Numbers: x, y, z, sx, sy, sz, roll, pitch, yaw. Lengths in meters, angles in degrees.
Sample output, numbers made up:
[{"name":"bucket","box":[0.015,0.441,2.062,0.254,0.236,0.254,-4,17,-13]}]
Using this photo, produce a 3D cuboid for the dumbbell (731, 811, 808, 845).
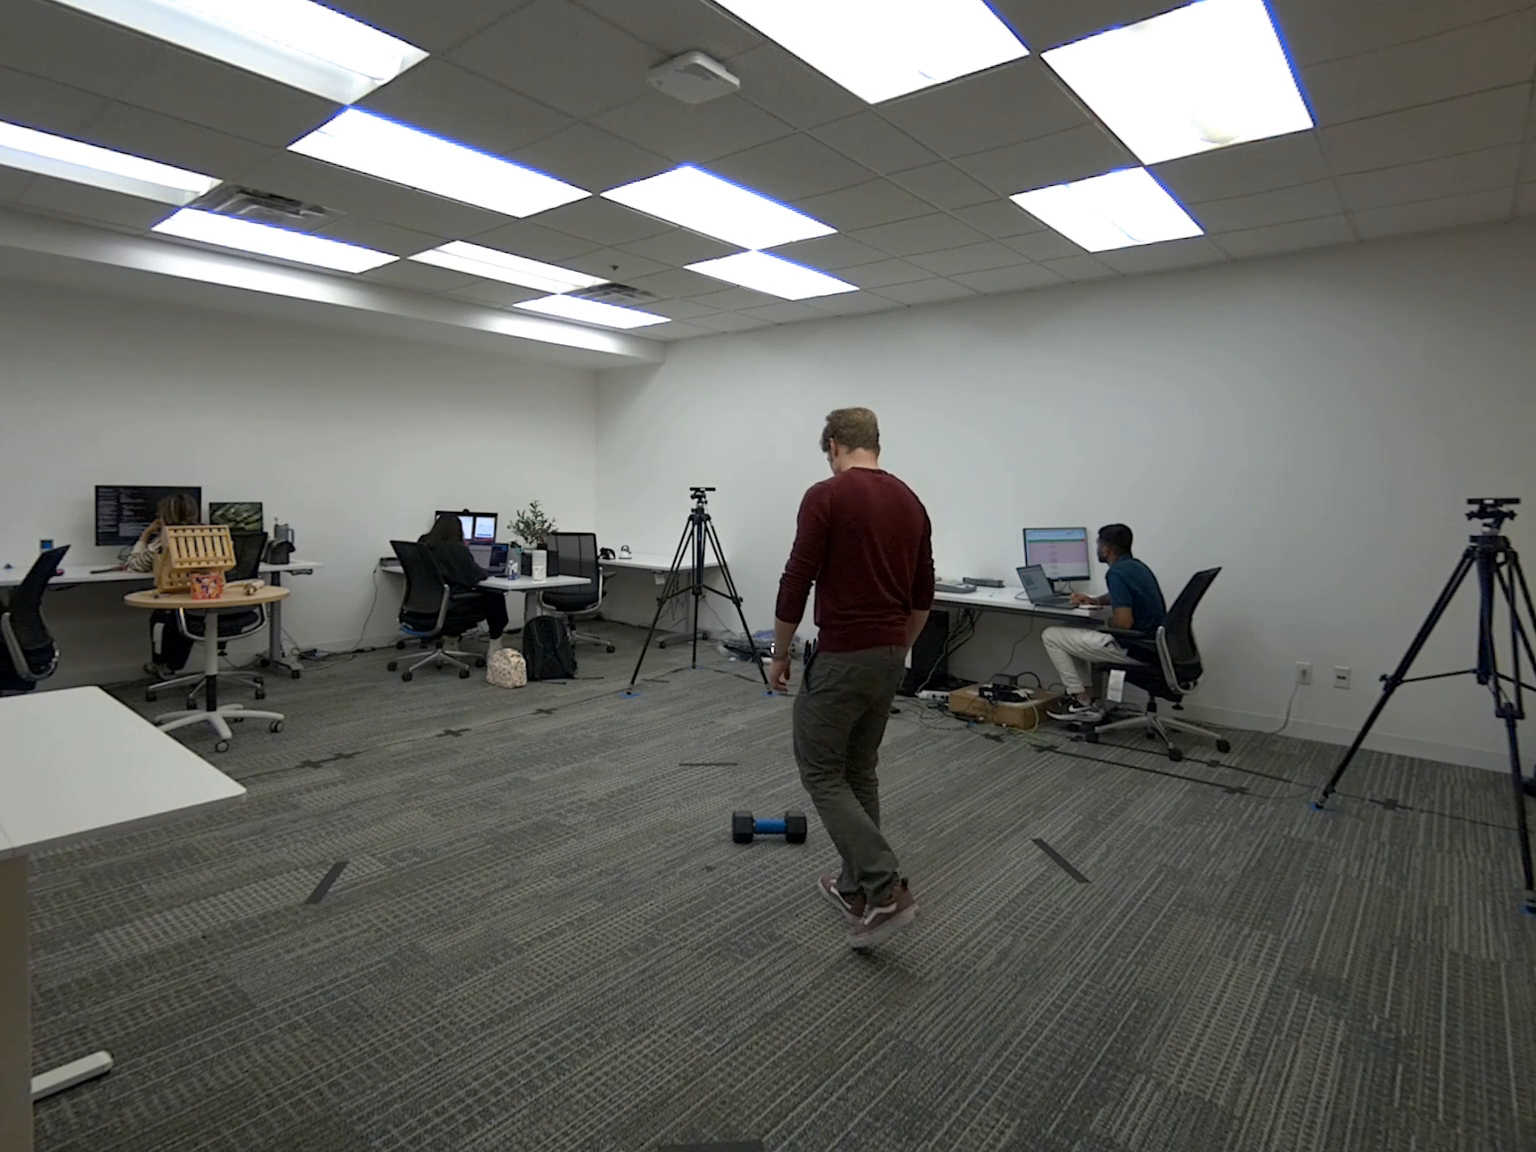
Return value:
[{"name":"dumbbell","box":[-0.001,0.992,3.372,0.292,0.120,0.112,1,34,-4]}]
